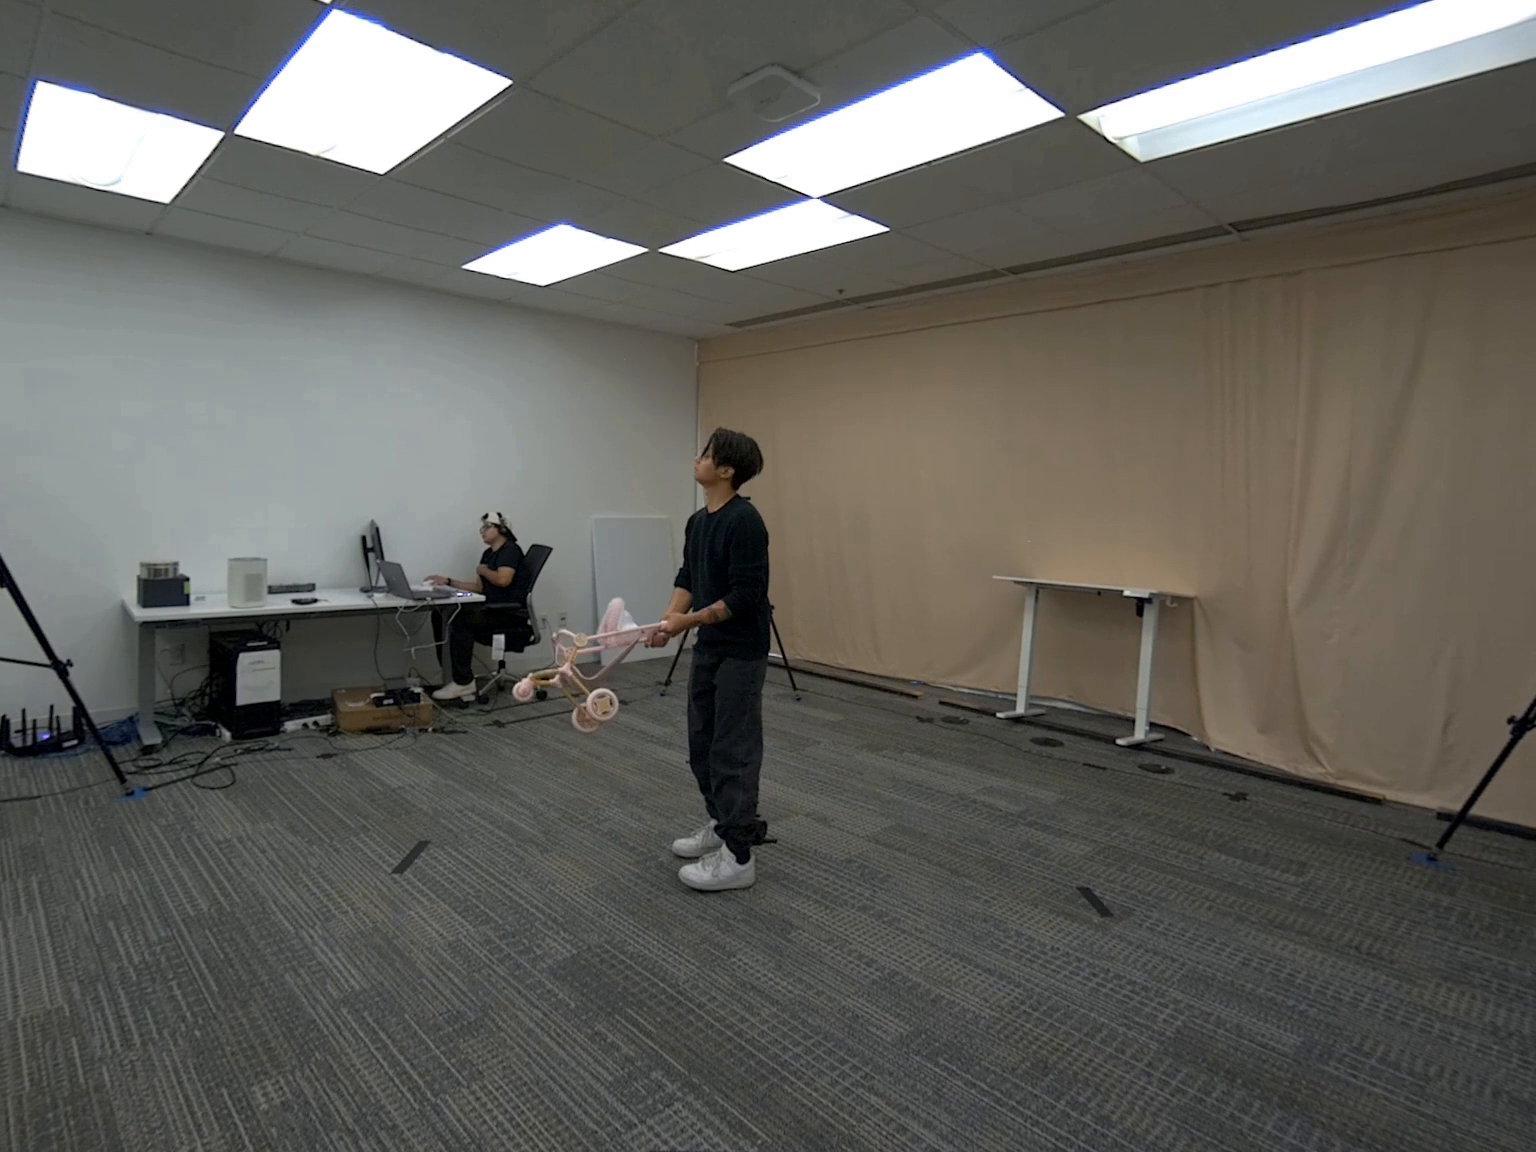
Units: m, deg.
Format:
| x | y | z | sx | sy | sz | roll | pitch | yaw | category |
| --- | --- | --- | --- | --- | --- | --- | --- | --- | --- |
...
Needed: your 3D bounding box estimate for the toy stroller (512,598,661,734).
| x | y | z | sx | sy | sz | roll | pitch | yaw | category |
| --- | --- | --- | --- | --- | --- | --- | --- | --- | --- |
| -0.620 | 0.294 | 2.952 | 0.341 | 0.537 | 0.281 | 34 | -28 | -3 | toy stroller |
